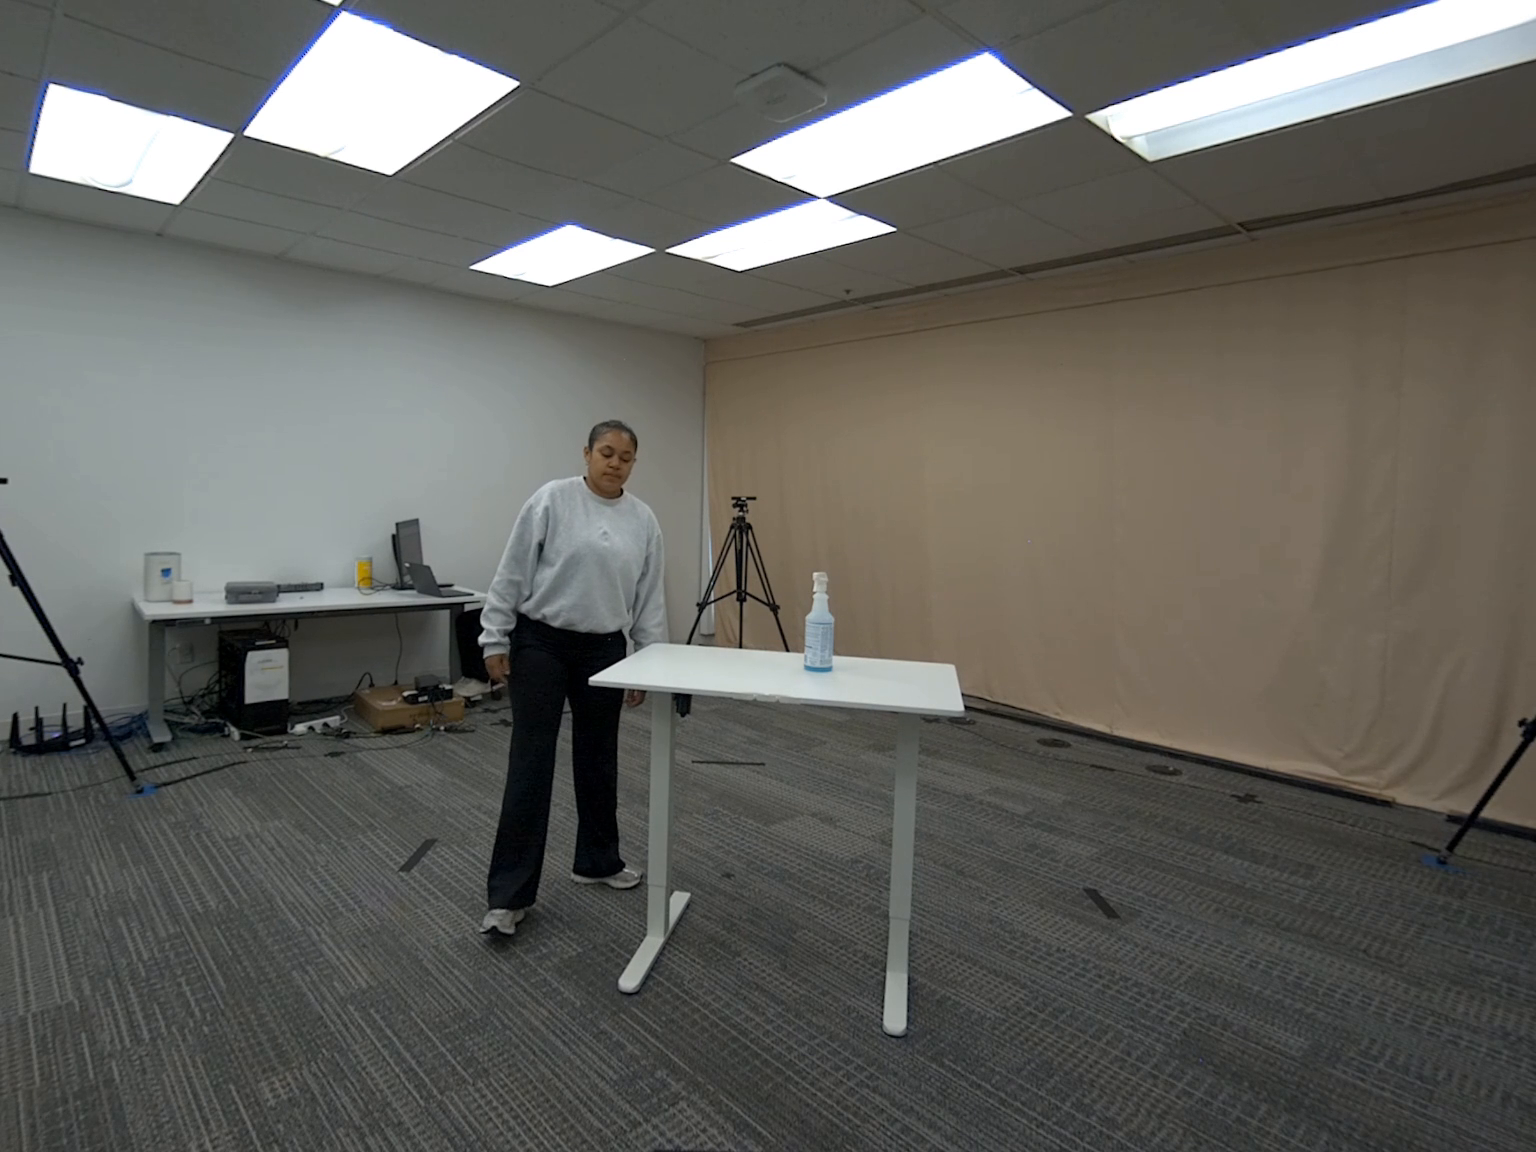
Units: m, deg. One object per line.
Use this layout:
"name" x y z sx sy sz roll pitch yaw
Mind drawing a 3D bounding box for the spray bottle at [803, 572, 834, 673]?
"spray bottle" 0.149 0.138 2.522 0.088 0.296 0.089 -1 5 -37
